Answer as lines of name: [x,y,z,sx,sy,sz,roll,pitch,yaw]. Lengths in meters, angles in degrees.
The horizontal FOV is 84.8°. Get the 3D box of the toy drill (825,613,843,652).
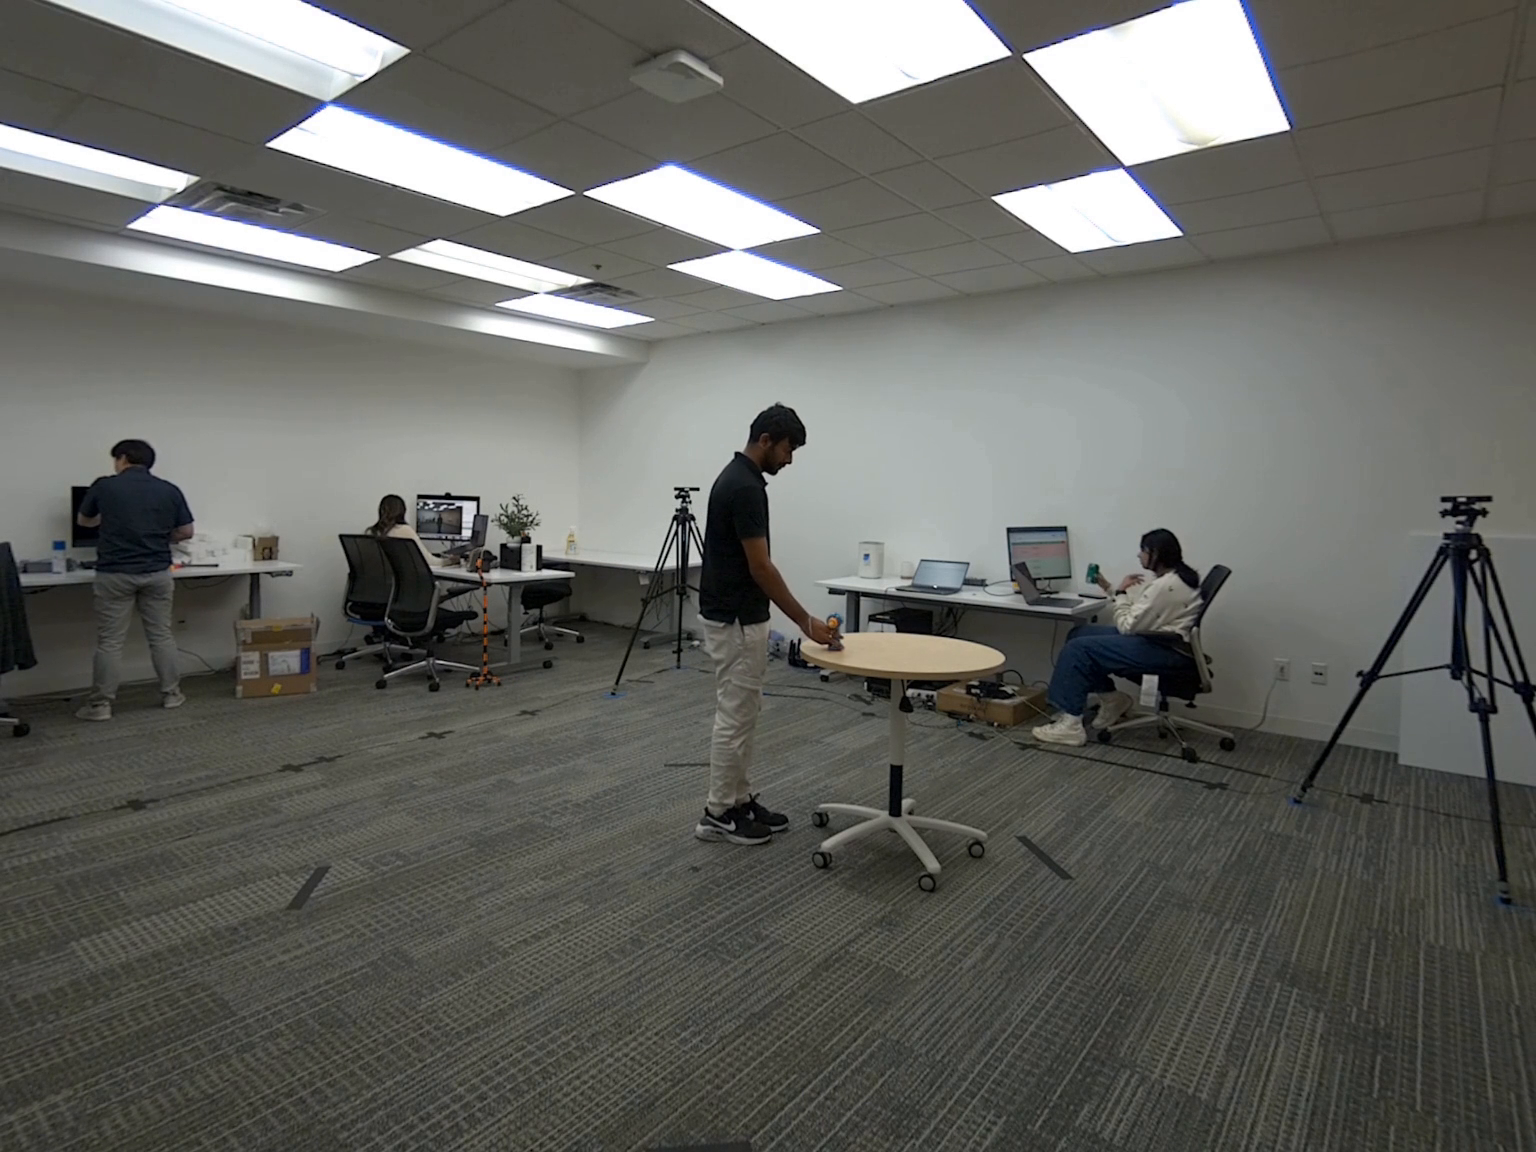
toy drill: [0.250,0.210,3.223,0.062,0.145,0.169,-1,4,7]
